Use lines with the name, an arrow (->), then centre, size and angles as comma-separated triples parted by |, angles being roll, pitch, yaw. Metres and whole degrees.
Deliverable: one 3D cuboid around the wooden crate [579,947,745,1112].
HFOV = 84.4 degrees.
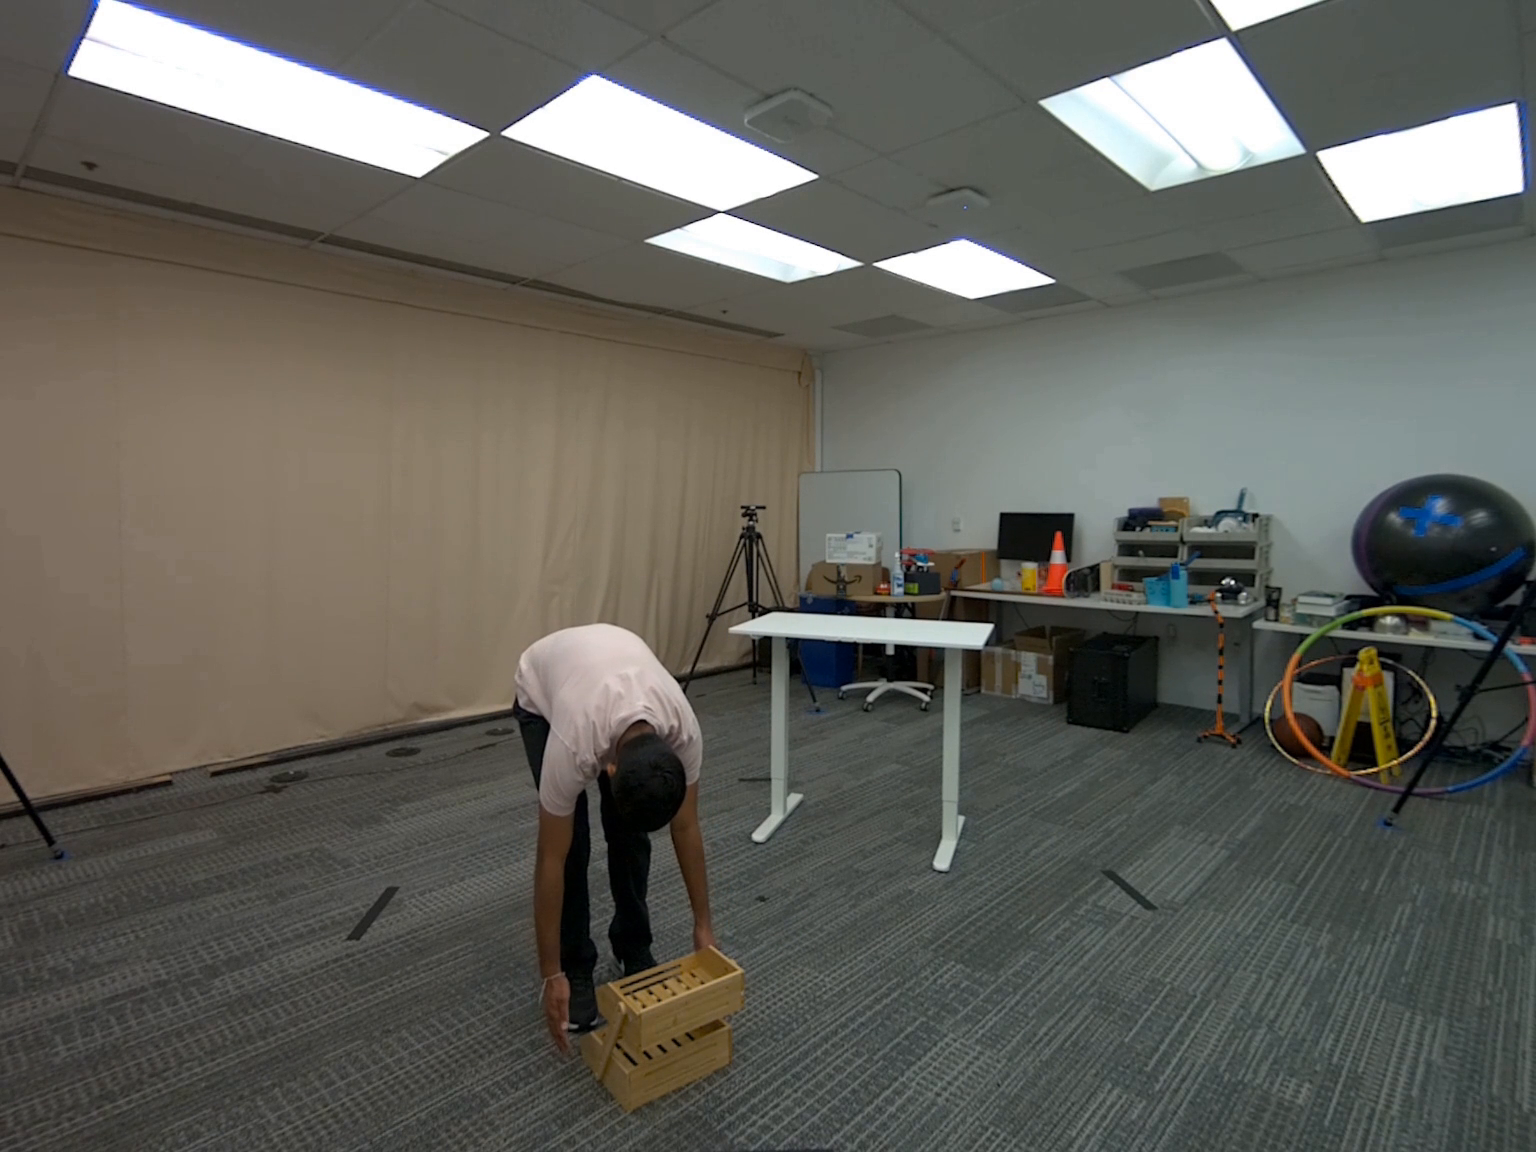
wooden crate -> -0.266, 1.087, 2.085 | 0.315, 0.273, 0.312 | -3, 4, -37
